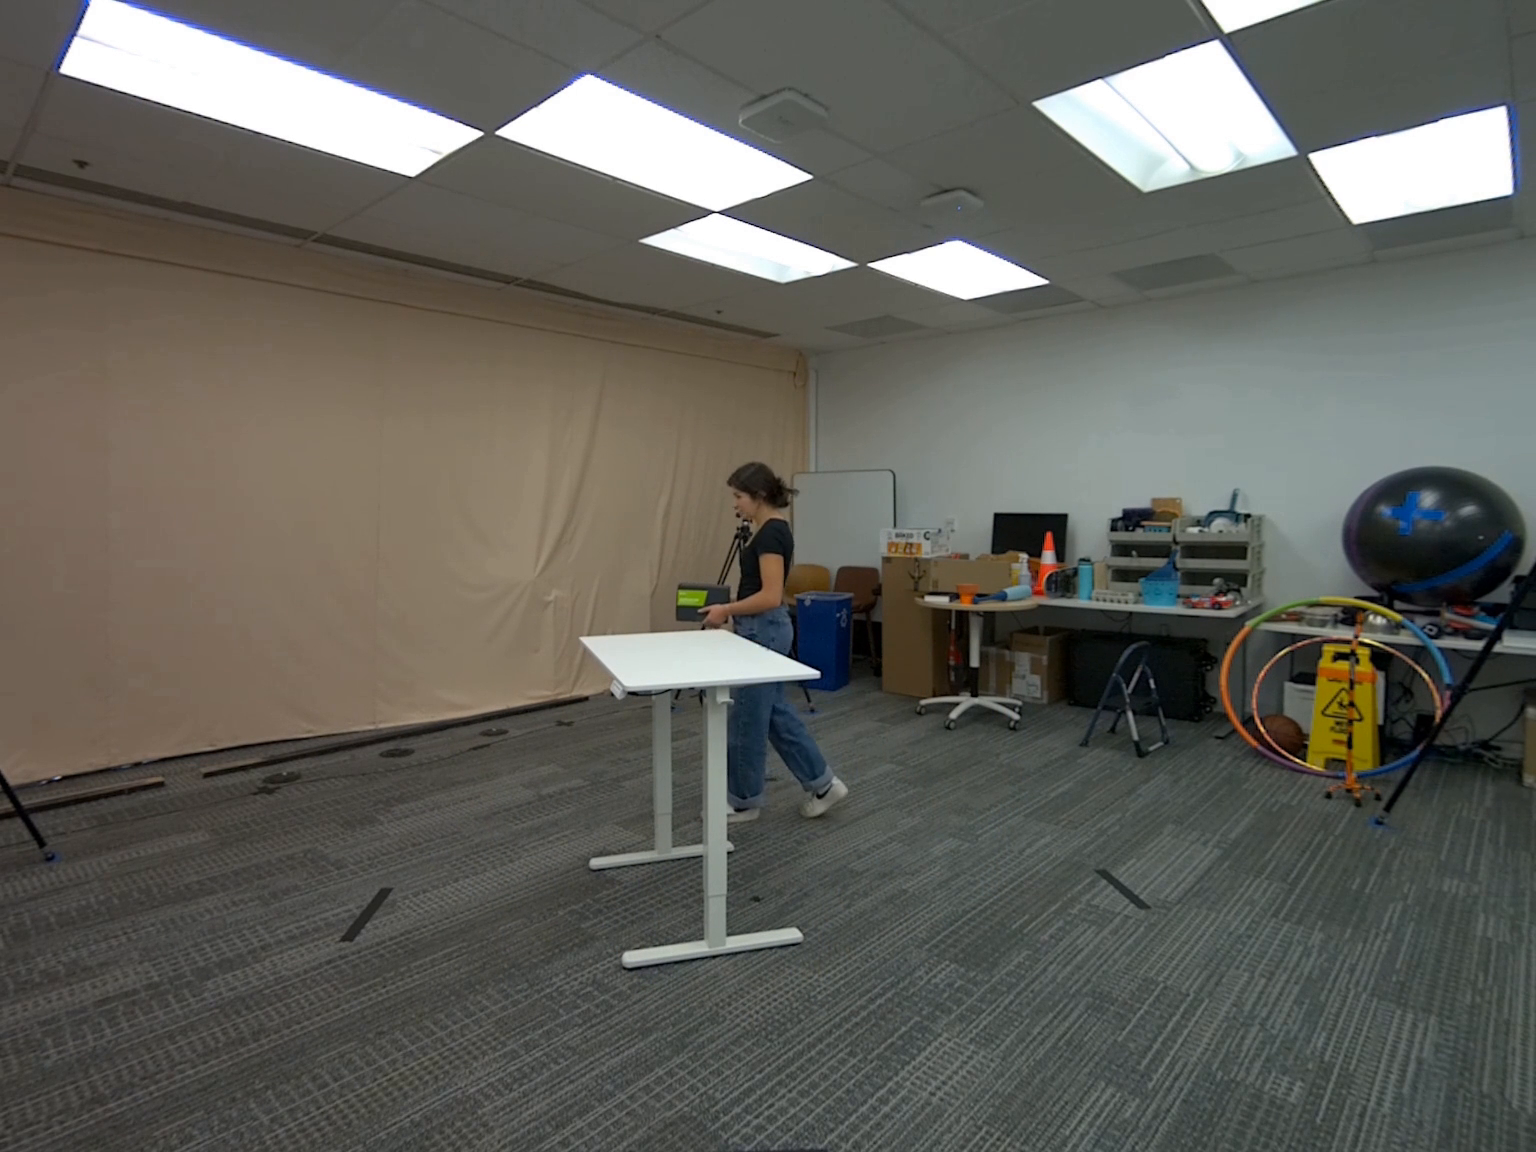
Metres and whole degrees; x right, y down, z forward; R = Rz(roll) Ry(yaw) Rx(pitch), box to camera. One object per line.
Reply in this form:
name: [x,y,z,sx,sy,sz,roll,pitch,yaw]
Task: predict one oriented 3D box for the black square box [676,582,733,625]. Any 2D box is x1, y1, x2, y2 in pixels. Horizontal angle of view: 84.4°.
black square box: [-0.281,0.116,3.720,0.228,0.156,0.217,4,1,-2]
